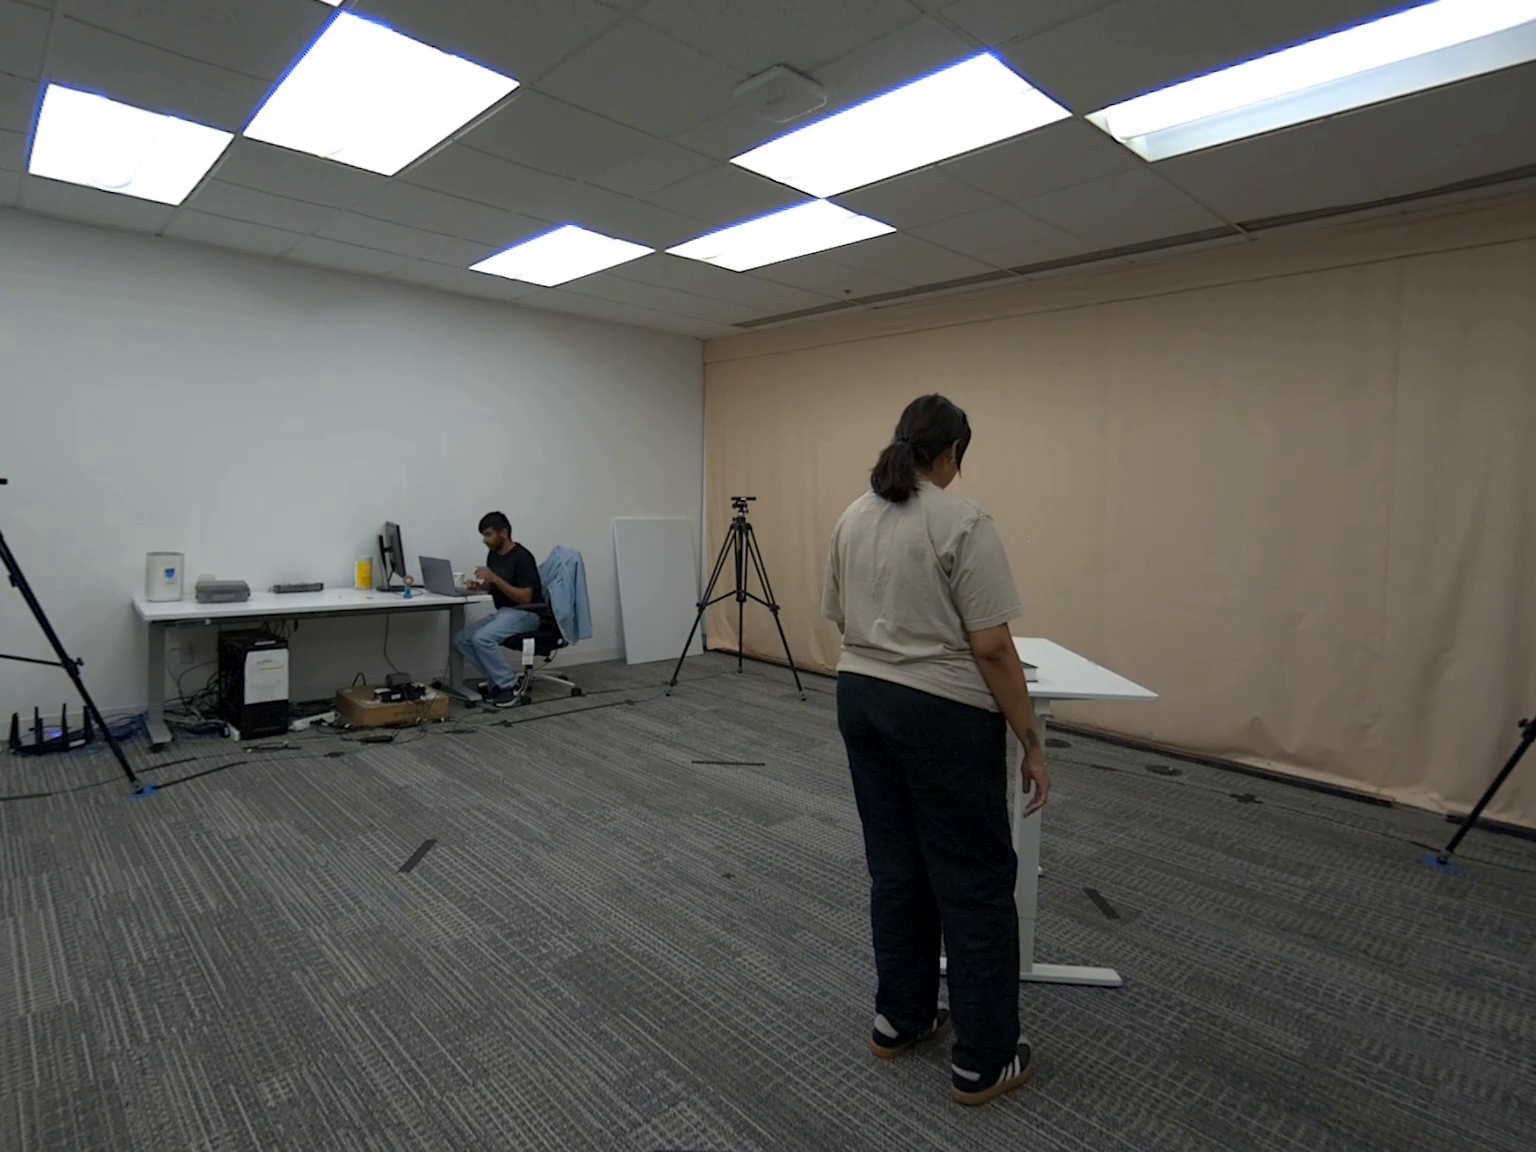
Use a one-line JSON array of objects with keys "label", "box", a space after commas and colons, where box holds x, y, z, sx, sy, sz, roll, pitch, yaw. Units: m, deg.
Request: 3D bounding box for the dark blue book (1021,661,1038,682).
[{"label": "dark blue book", "box": [0.655, 0.280, 2.475, 0.243, 0.045, 0.165, 3, 5, -11]}]
